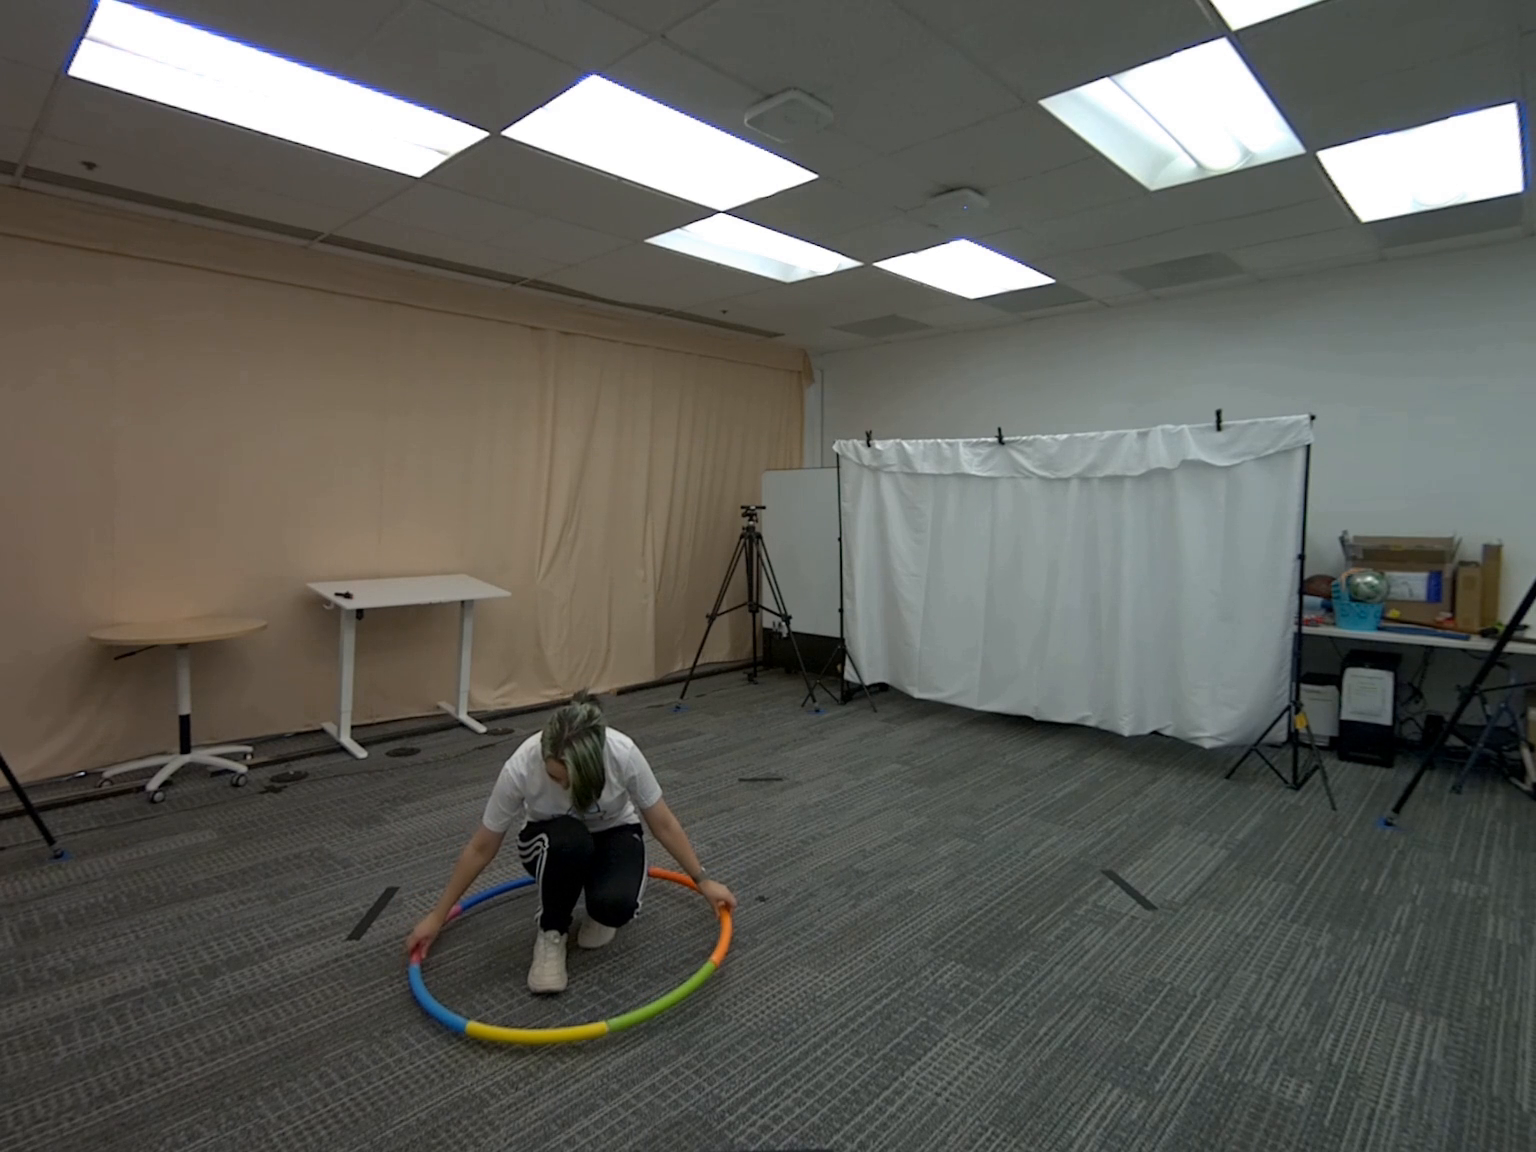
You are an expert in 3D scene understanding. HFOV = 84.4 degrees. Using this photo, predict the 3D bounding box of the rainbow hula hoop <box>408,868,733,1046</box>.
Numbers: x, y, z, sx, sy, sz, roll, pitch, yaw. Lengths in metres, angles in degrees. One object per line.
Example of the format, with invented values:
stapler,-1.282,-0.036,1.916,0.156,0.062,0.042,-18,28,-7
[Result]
rainbow hula hoop,-0.596,1.118,2.624,0.985,0.051,0.990,-2,6,-2
